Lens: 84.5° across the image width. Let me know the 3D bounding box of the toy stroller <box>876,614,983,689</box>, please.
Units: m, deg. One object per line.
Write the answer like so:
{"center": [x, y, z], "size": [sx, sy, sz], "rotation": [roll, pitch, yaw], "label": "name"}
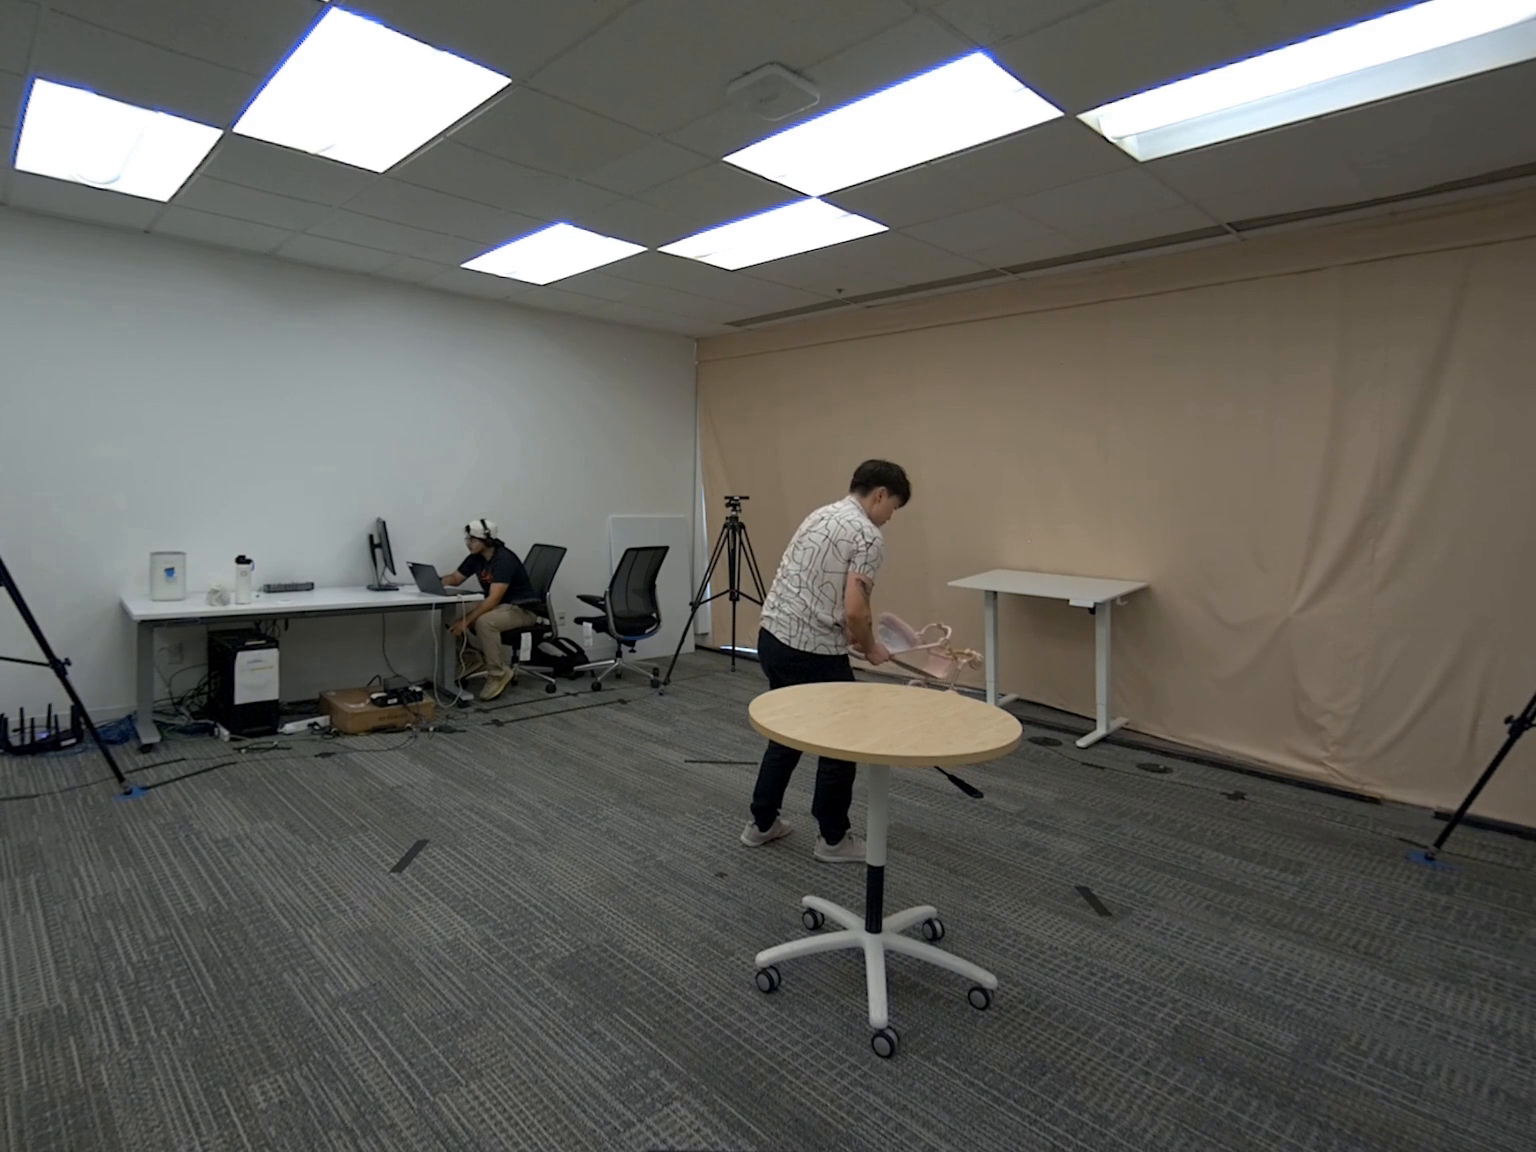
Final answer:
{"center": [0.614, 0.328, 3.430], "size": [0.526, 0.341, 0.286], "rotation": [38, -5, -15], "label": "toy stroller"}
